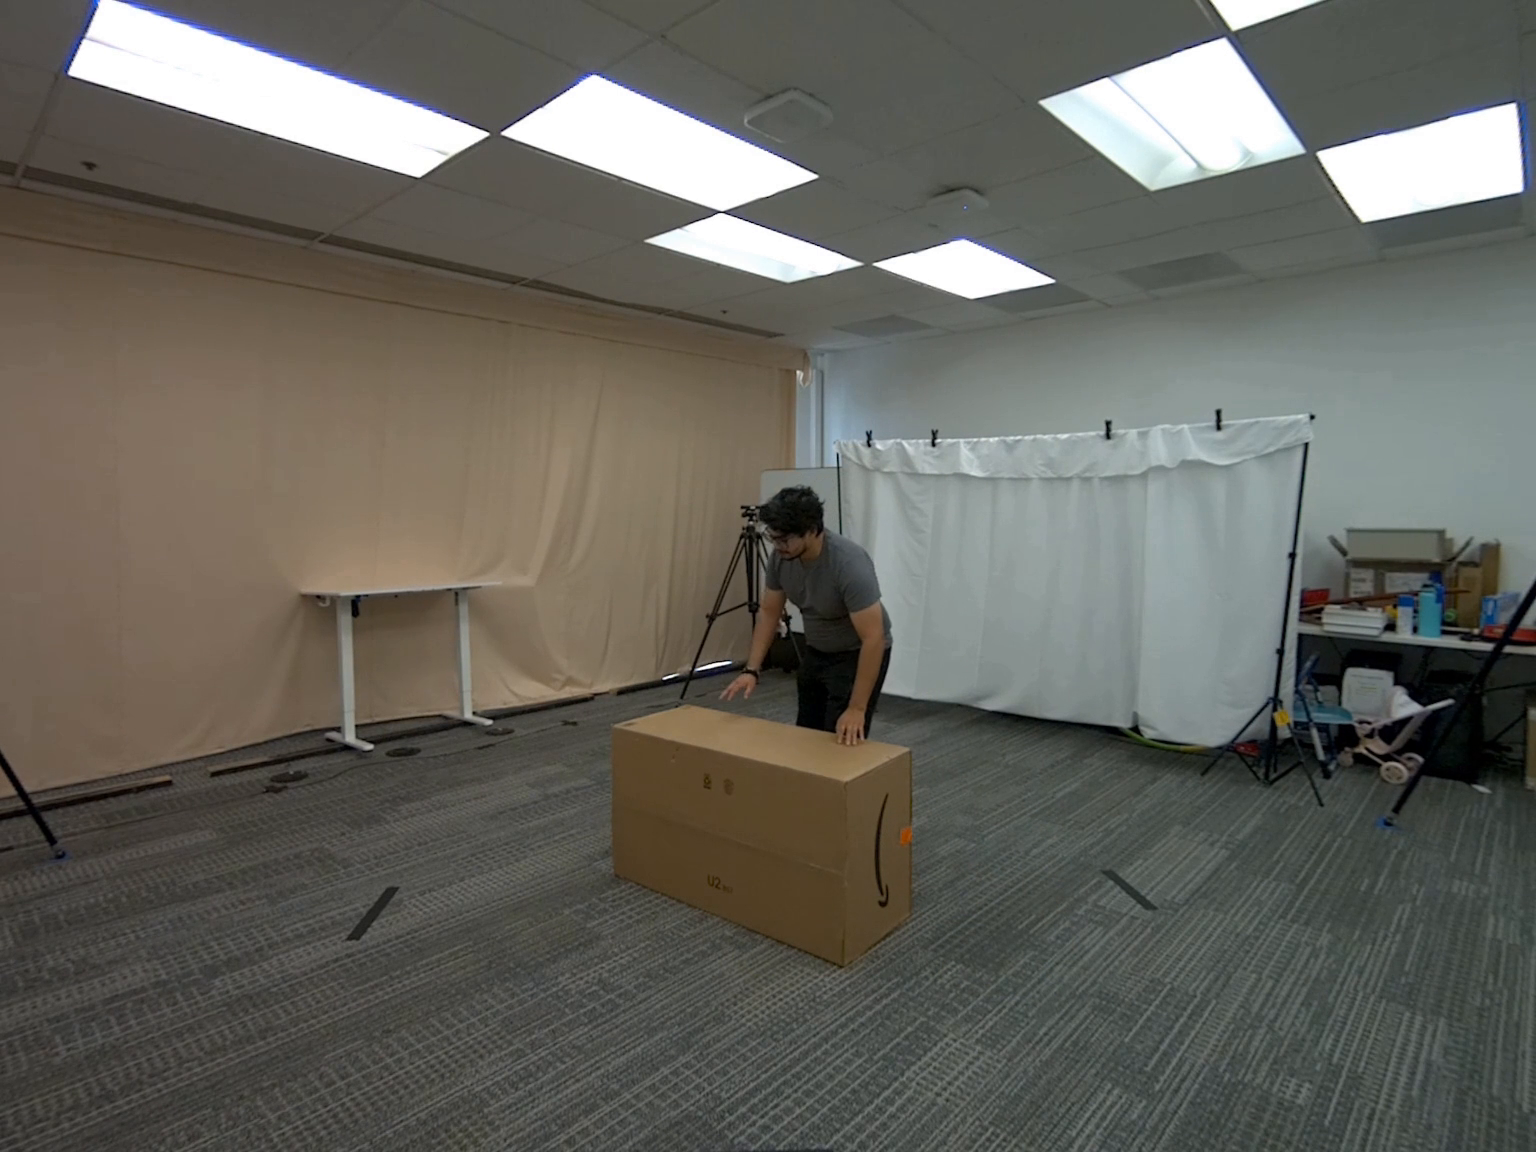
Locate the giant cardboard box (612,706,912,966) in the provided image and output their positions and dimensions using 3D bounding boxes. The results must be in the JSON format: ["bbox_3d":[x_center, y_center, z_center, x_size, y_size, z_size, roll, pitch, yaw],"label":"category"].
[{"bbox_3d":[-0.048,0.852,3.002,1.059,0.576,0.413,3,4,39],"label":"giant cardboard box"}]
